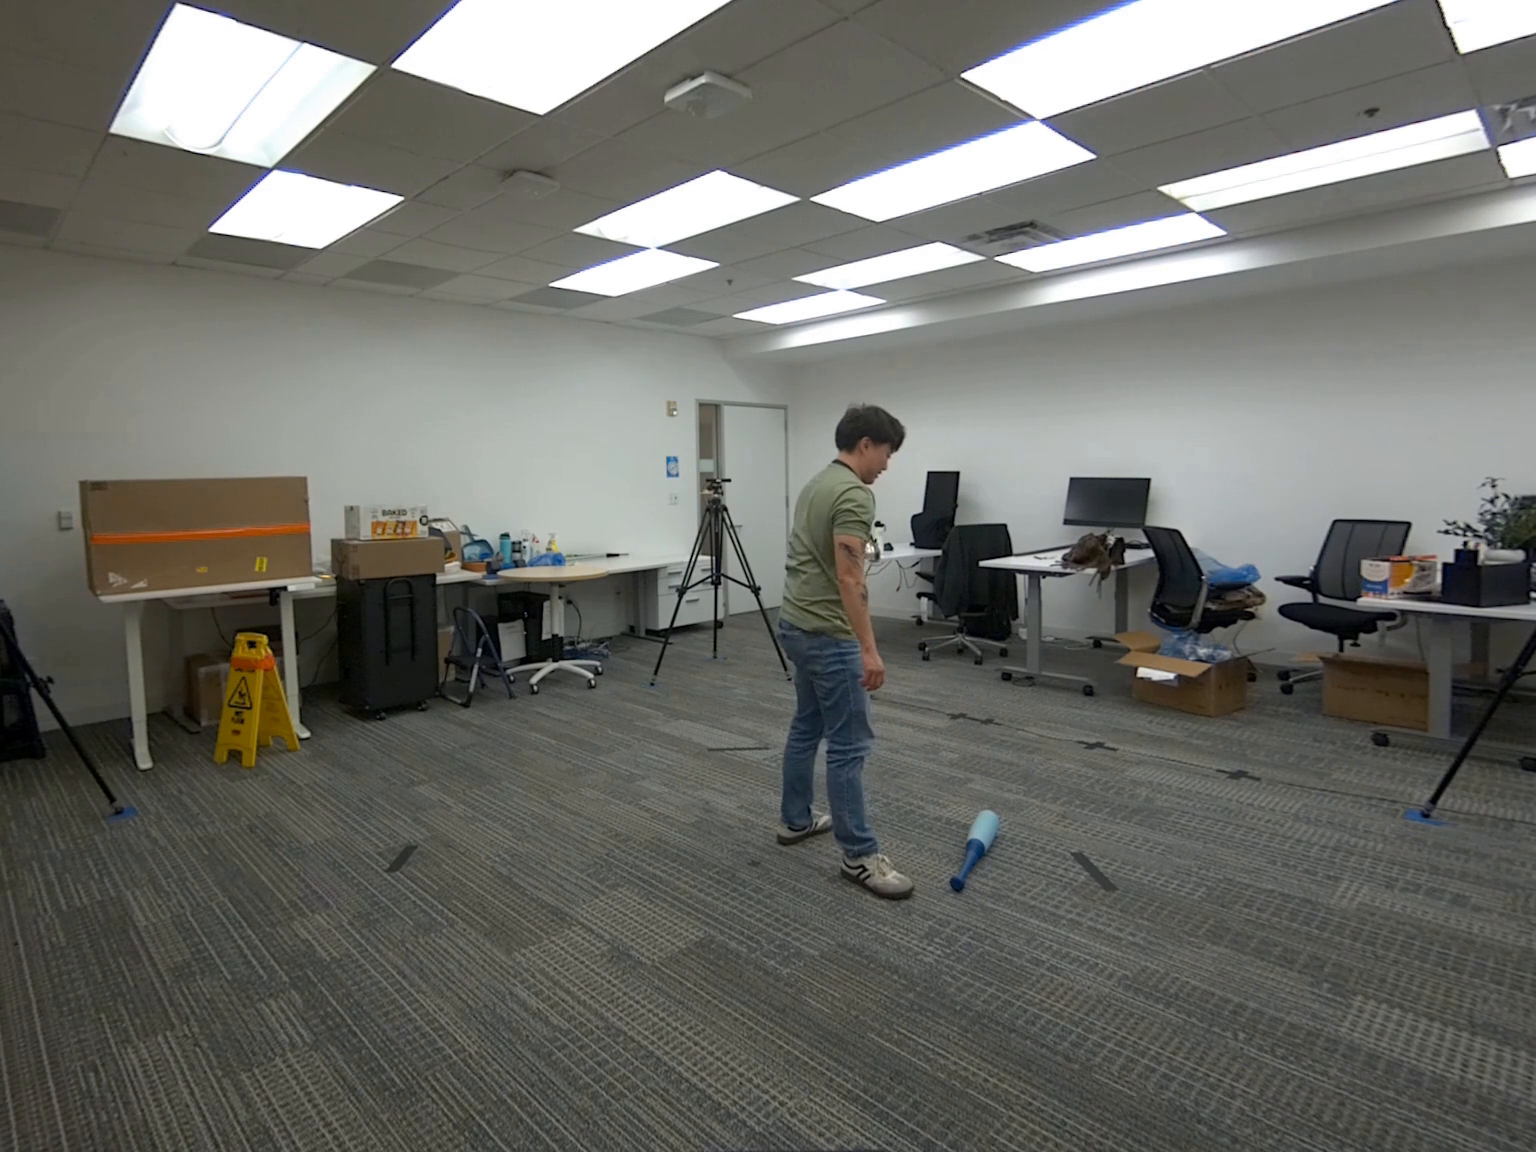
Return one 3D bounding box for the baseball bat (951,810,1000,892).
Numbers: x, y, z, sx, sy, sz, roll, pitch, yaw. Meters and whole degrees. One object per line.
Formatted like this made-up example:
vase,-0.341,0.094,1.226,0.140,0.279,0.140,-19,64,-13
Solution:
baseball bat,0.754,0.994,3.096,0.091,0.088,0.535,1,10,23
